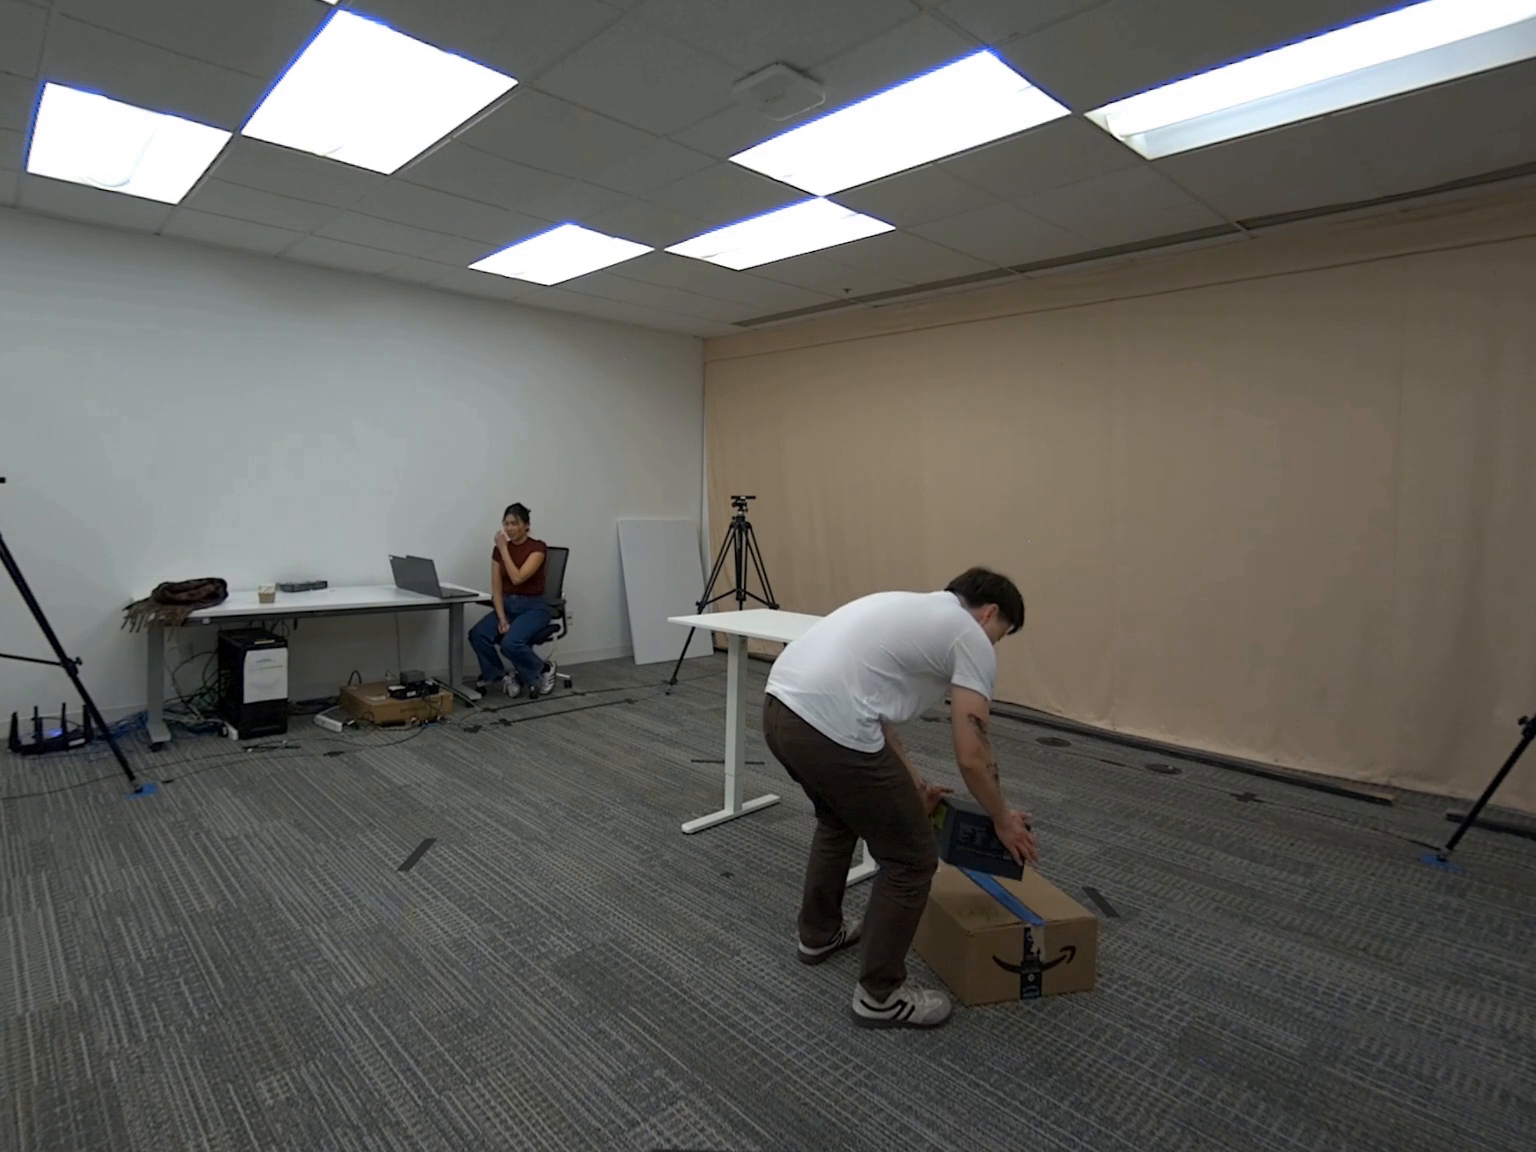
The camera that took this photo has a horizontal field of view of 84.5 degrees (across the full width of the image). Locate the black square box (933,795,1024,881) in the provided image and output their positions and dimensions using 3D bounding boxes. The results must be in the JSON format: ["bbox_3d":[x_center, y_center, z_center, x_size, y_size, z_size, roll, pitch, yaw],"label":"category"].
[{"bbox_3d":[0.610,0.743,2.459,0.218,0.156,0.226,12,-3,5],"label":"black square box"}]
